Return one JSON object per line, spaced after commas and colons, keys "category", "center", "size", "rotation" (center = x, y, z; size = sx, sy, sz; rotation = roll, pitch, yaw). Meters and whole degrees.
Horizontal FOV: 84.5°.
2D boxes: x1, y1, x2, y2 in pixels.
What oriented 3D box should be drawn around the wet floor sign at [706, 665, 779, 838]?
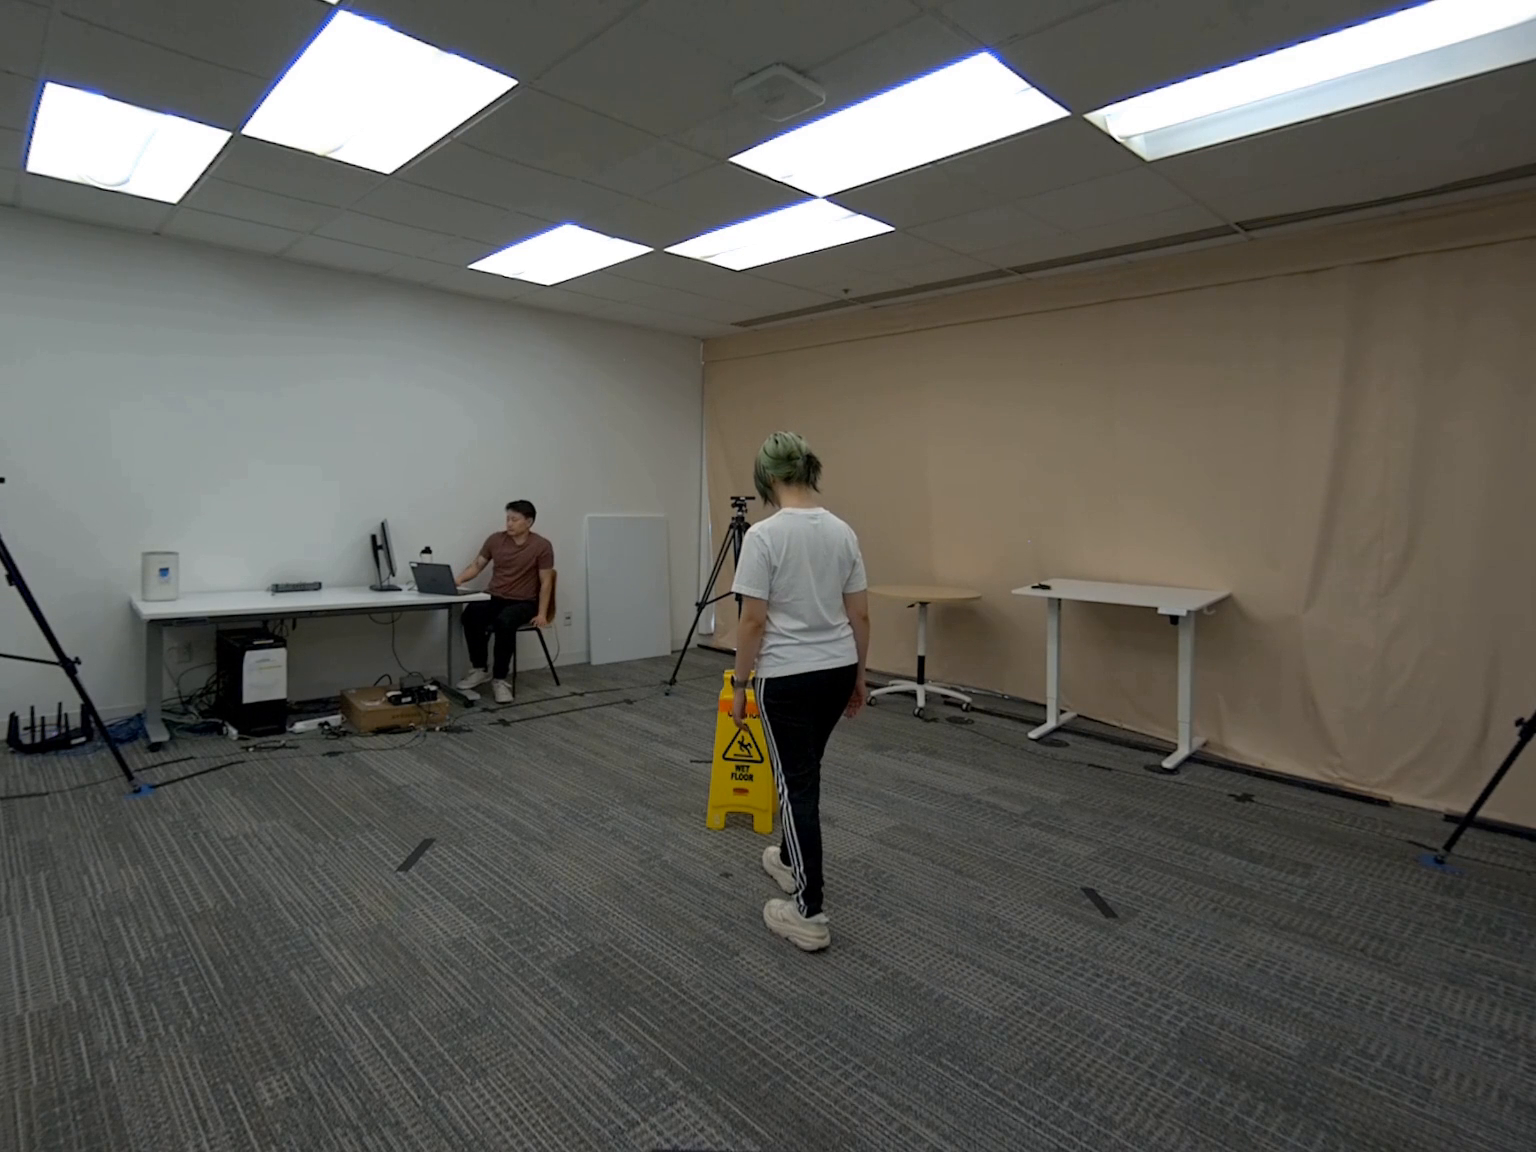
{"category": "wet floor sign", "center": [-0.095, 0.735, 3.633], "size": [0.284, 0.645, 0.288], "rotation": [2, 3, 6]}
